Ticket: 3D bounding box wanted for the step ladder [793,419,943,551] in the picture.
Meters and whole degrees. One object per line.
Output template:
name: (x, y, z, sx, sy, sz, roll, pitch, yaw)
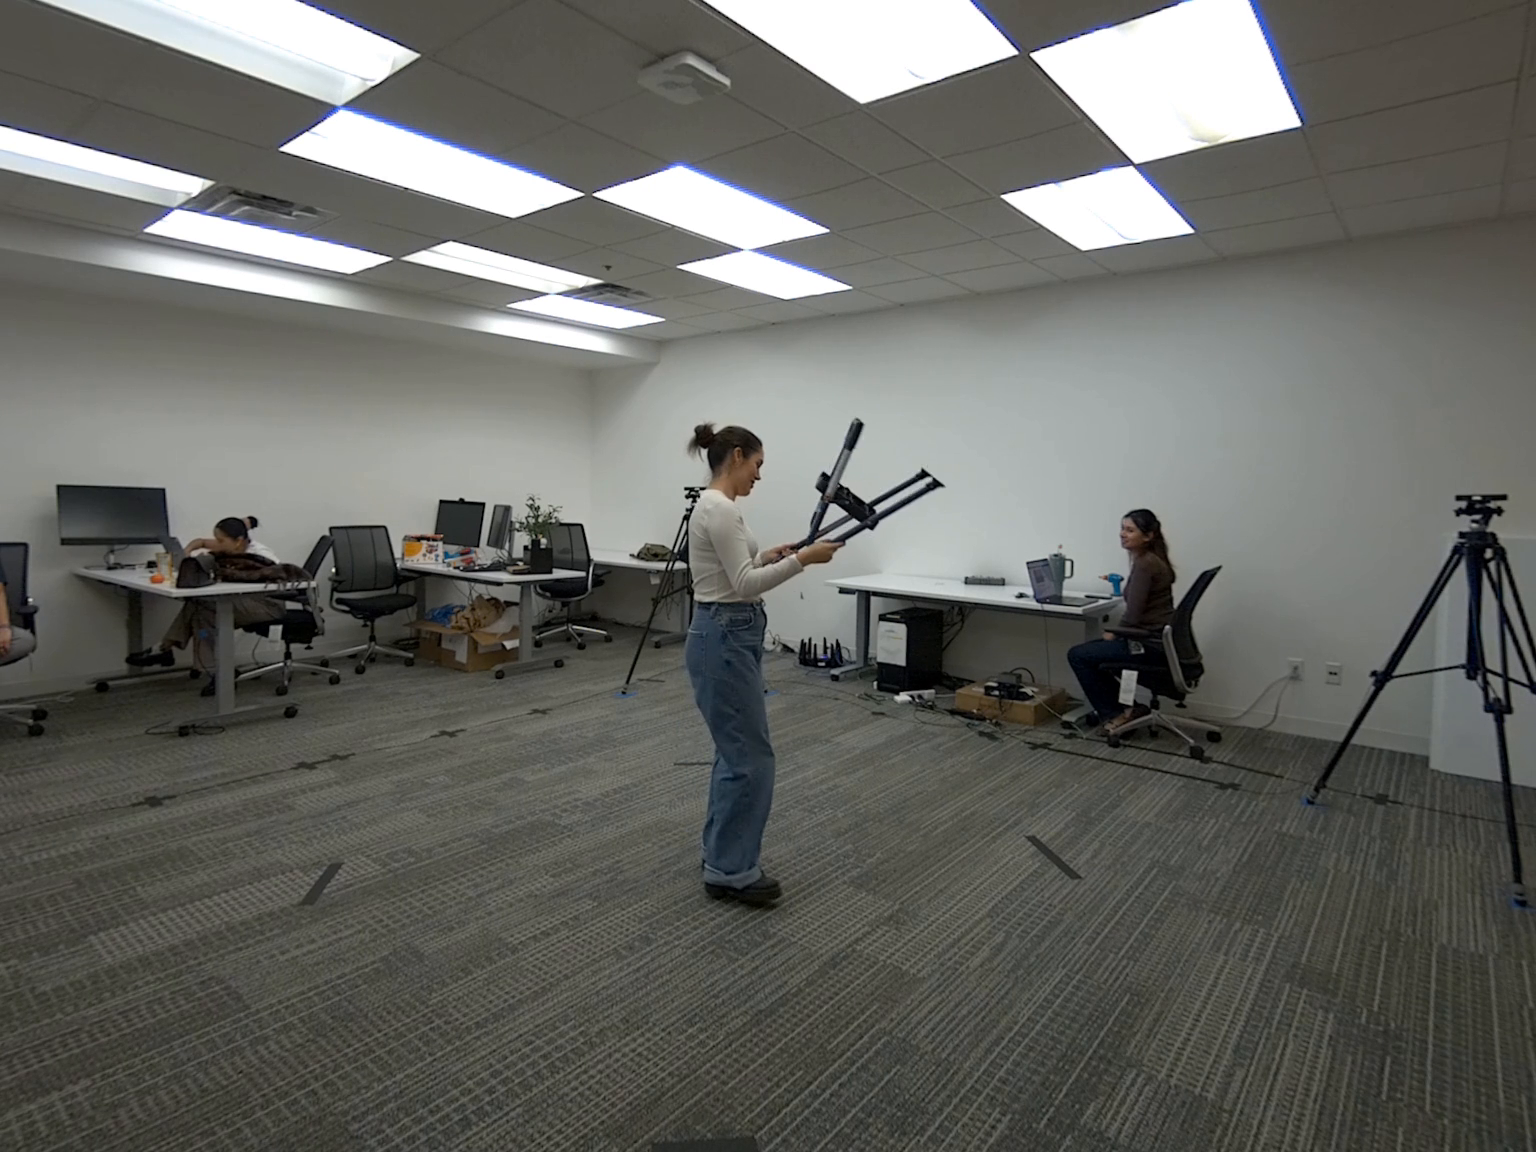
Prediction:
step ladder: (0.241, -0.199, 2.974, 0.349, 0.605, 0.431, 39, 12, -1)
